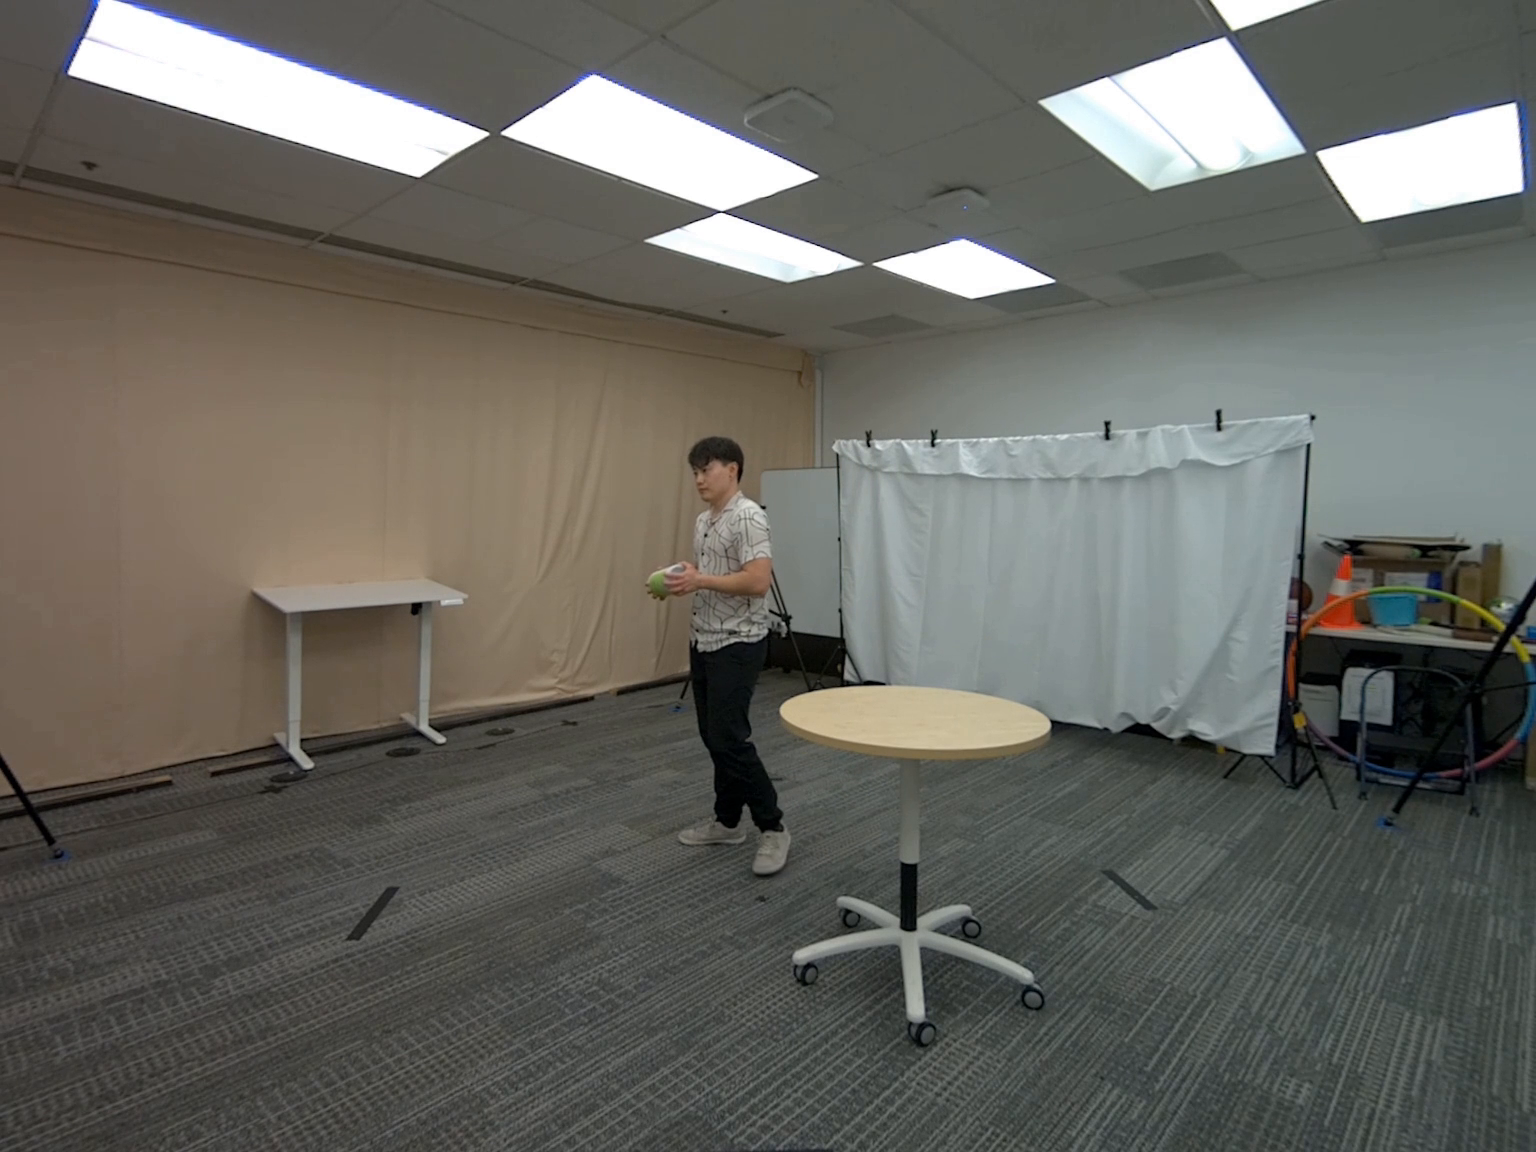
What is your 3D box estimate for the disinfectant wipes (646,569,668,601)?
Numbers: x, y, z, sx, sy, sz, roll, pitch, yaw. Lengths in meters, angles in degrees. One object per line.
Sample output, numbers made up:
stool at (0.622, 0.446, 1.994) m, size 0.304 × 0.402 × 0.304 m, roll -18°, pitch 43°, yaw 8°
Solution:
disinfectant wipes at (-0.390, 0.021, 3.343) m, size 0.114 × 0.118 × 0.222 m, roll -2°, pitch -7°, yaw -31°
